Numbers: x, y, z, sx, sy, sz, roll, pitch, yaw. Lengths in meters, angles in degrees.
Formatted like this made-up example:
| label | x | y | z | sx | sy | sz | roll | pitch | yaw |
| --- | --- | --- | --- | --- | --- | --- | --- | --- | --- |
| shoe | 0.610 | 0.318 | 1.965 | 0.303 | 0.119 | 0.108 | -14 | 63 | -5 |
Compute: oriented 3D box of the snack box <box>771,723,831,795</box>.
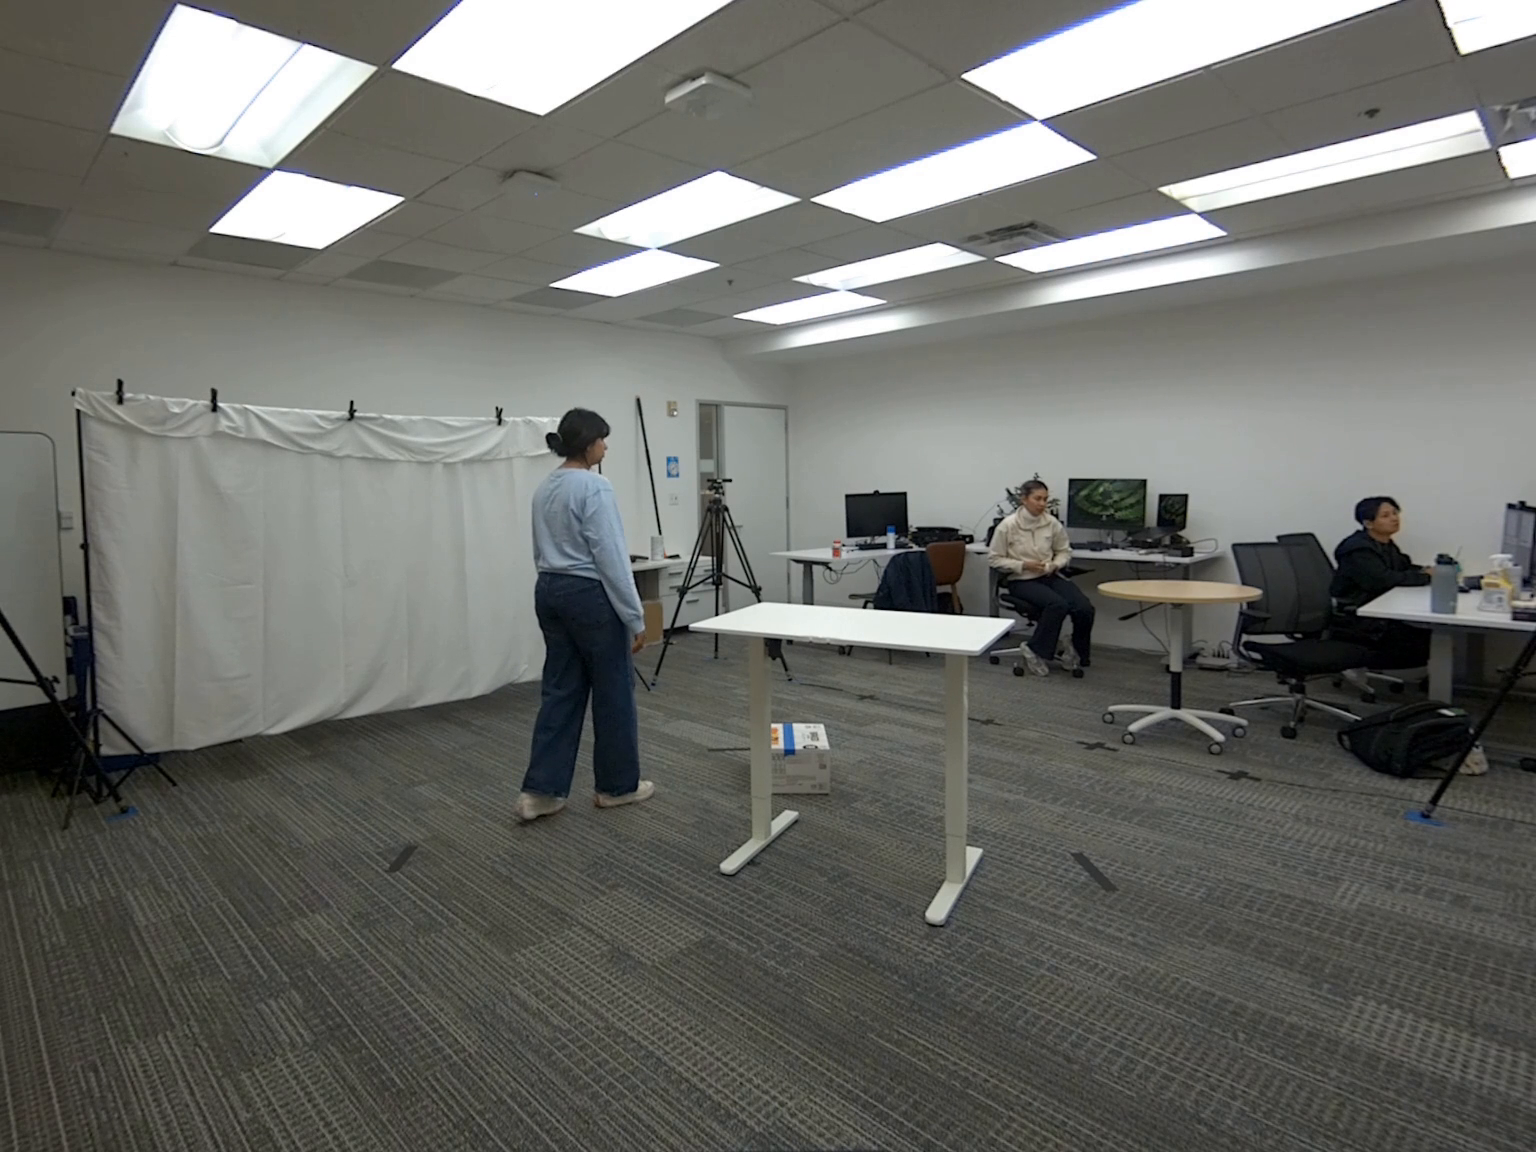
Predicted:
| label | x | y | z | sx | sy | sz | roll | pitch | yaw |
| --- | --- | --- | --- | --- | --- | --- | --- | --- | --- |
| snack box | 0.098 | 0.838 | 3.965 | 0.341 | 0.205 | 0.406 | -1 | 5 | 1 |
